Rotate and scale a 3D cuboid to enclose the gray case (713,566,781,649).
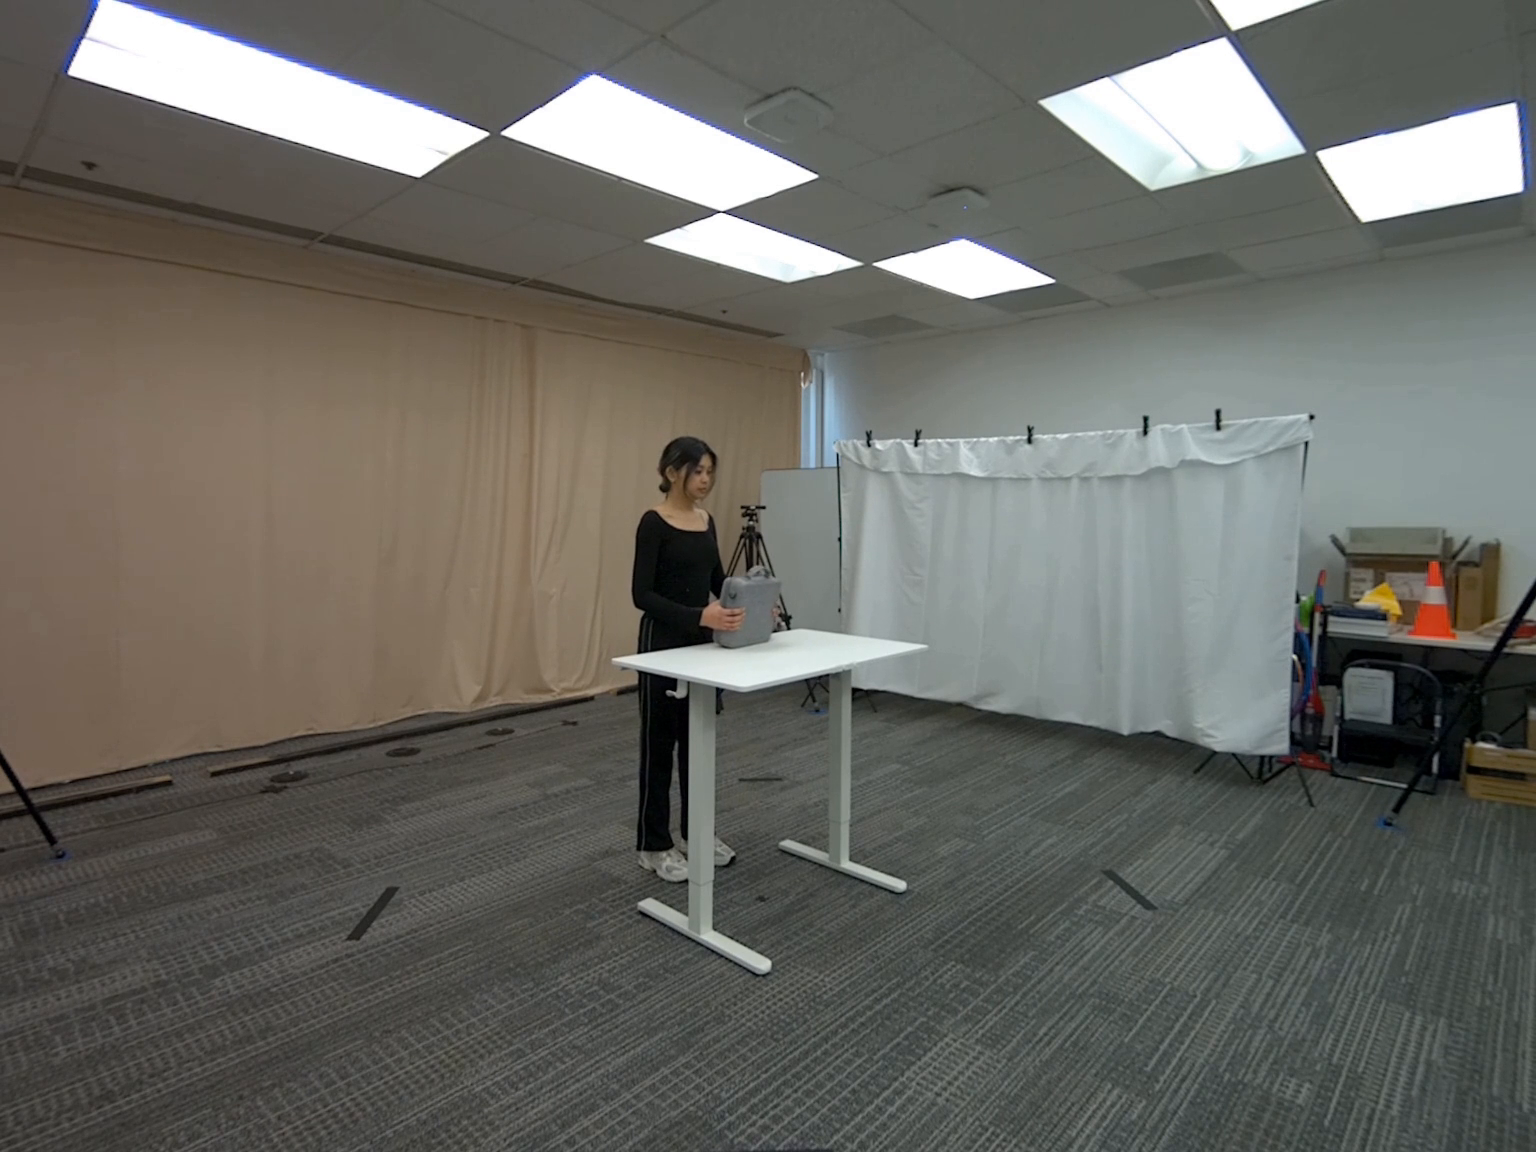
[{"bbox_3d":[-0.069,0.123,3.070,0.108,0.259,0.249,18,14,35],"label":"gray case"}]
